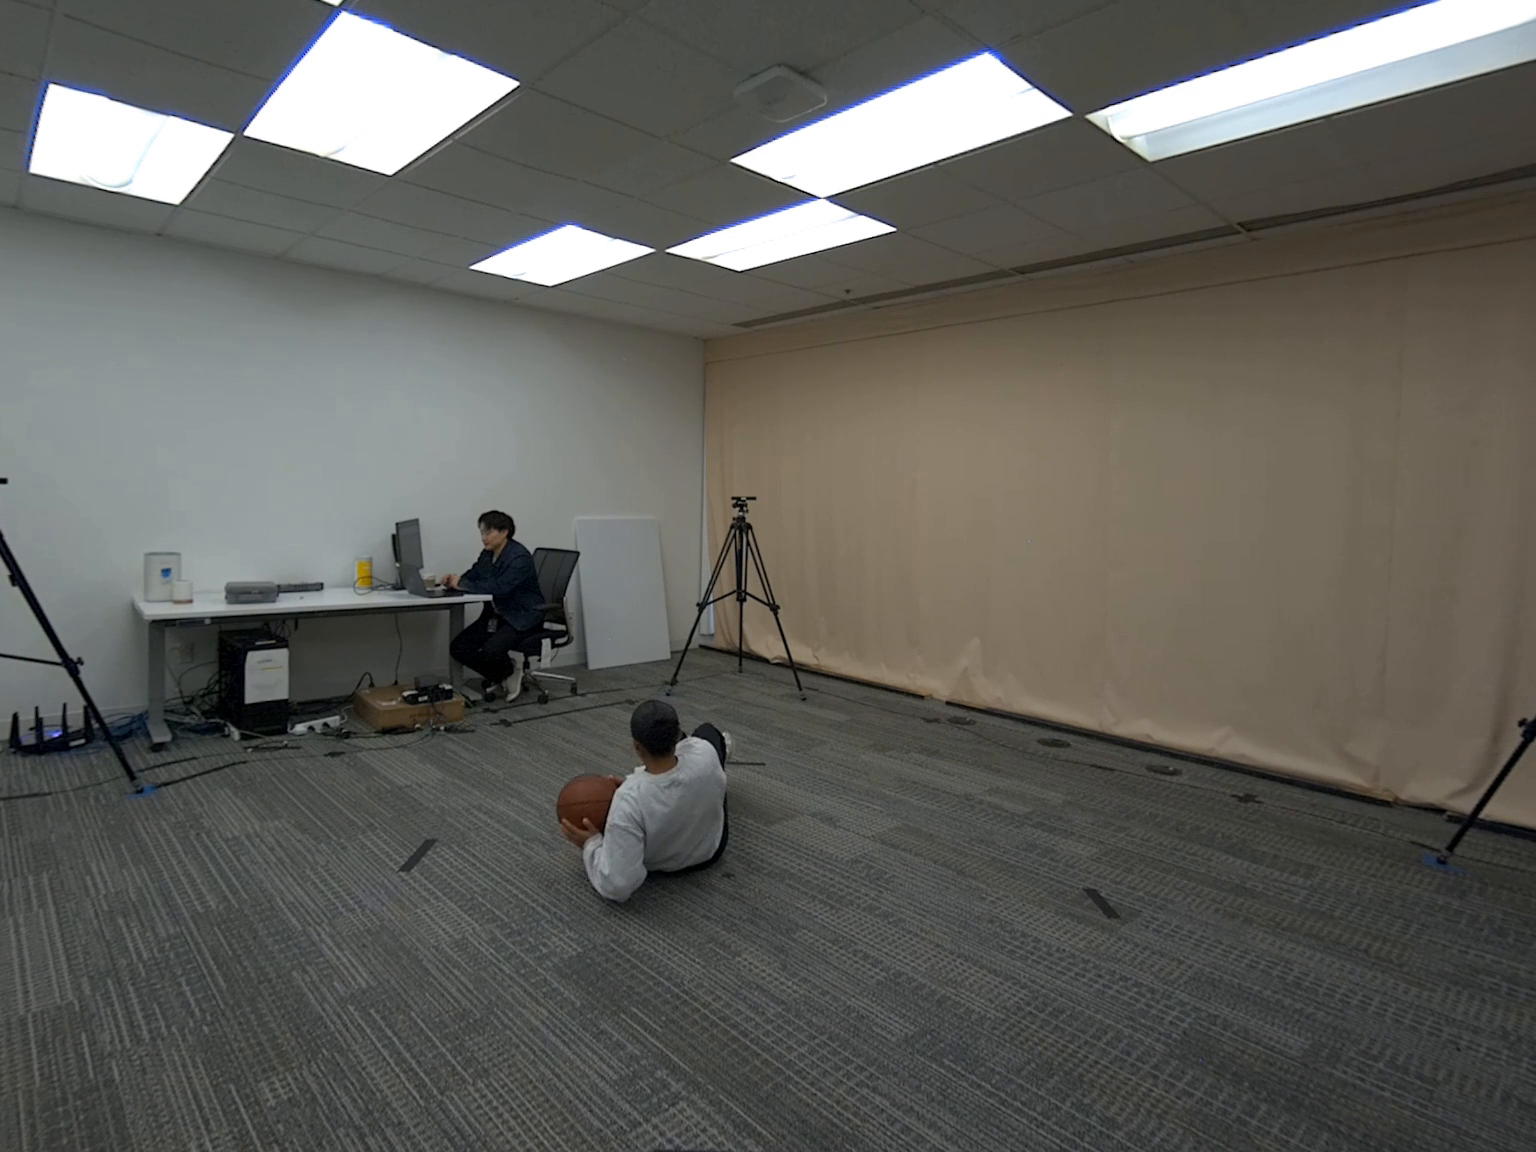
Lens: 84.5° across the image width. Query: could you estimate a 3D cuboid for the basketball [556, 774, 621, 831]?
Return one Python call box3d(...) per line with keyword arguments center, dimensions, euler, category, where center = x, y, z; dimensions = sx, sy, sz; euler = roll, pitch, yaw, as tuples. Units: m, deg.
box3d(center=(-0.637, 0.835, 3.108), dimensions=(0.236, 0.235, 0.237), euler=(1, 4, -1), category="basketball")
